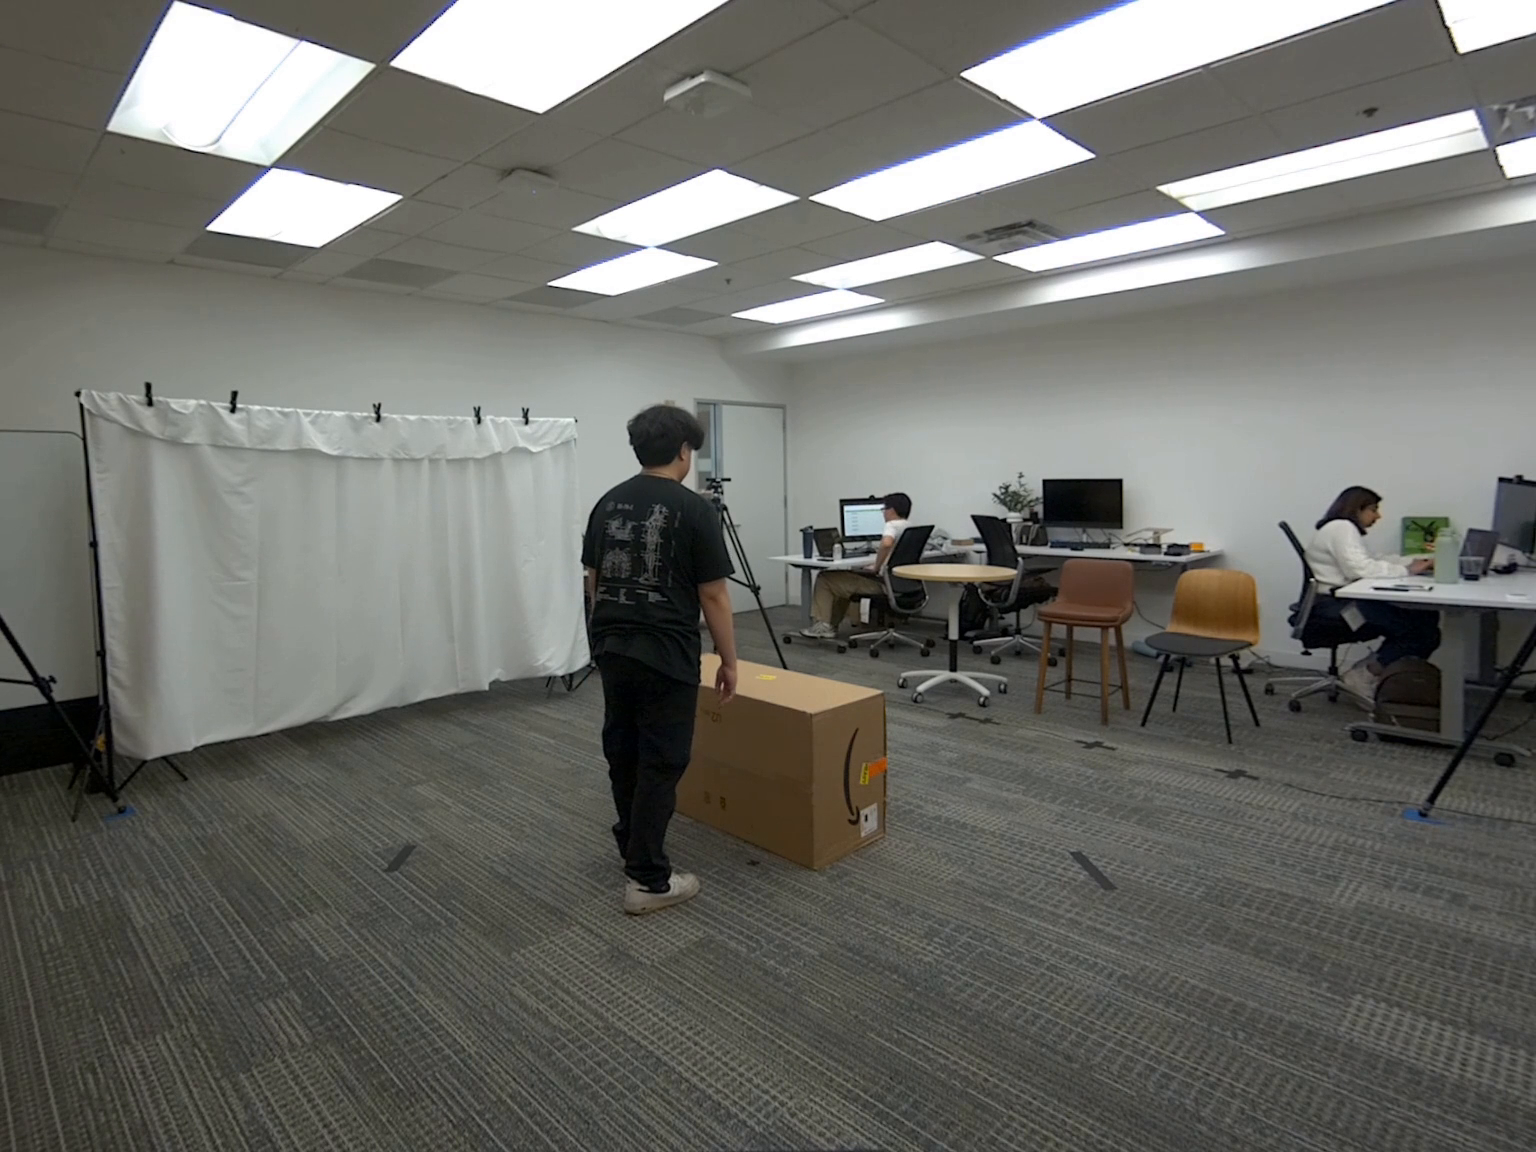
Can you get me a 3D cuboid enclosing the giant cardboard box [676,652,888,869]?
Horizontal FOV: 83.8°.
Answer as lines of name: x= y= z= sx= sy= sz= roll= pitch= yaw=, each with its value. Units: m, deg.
giant cardboard box: x=-0.052 y=0.709 z=3.531 sx=0.435 sy=0.582 sz=1.059 roll=-4 pitch=7 yaw=-44
